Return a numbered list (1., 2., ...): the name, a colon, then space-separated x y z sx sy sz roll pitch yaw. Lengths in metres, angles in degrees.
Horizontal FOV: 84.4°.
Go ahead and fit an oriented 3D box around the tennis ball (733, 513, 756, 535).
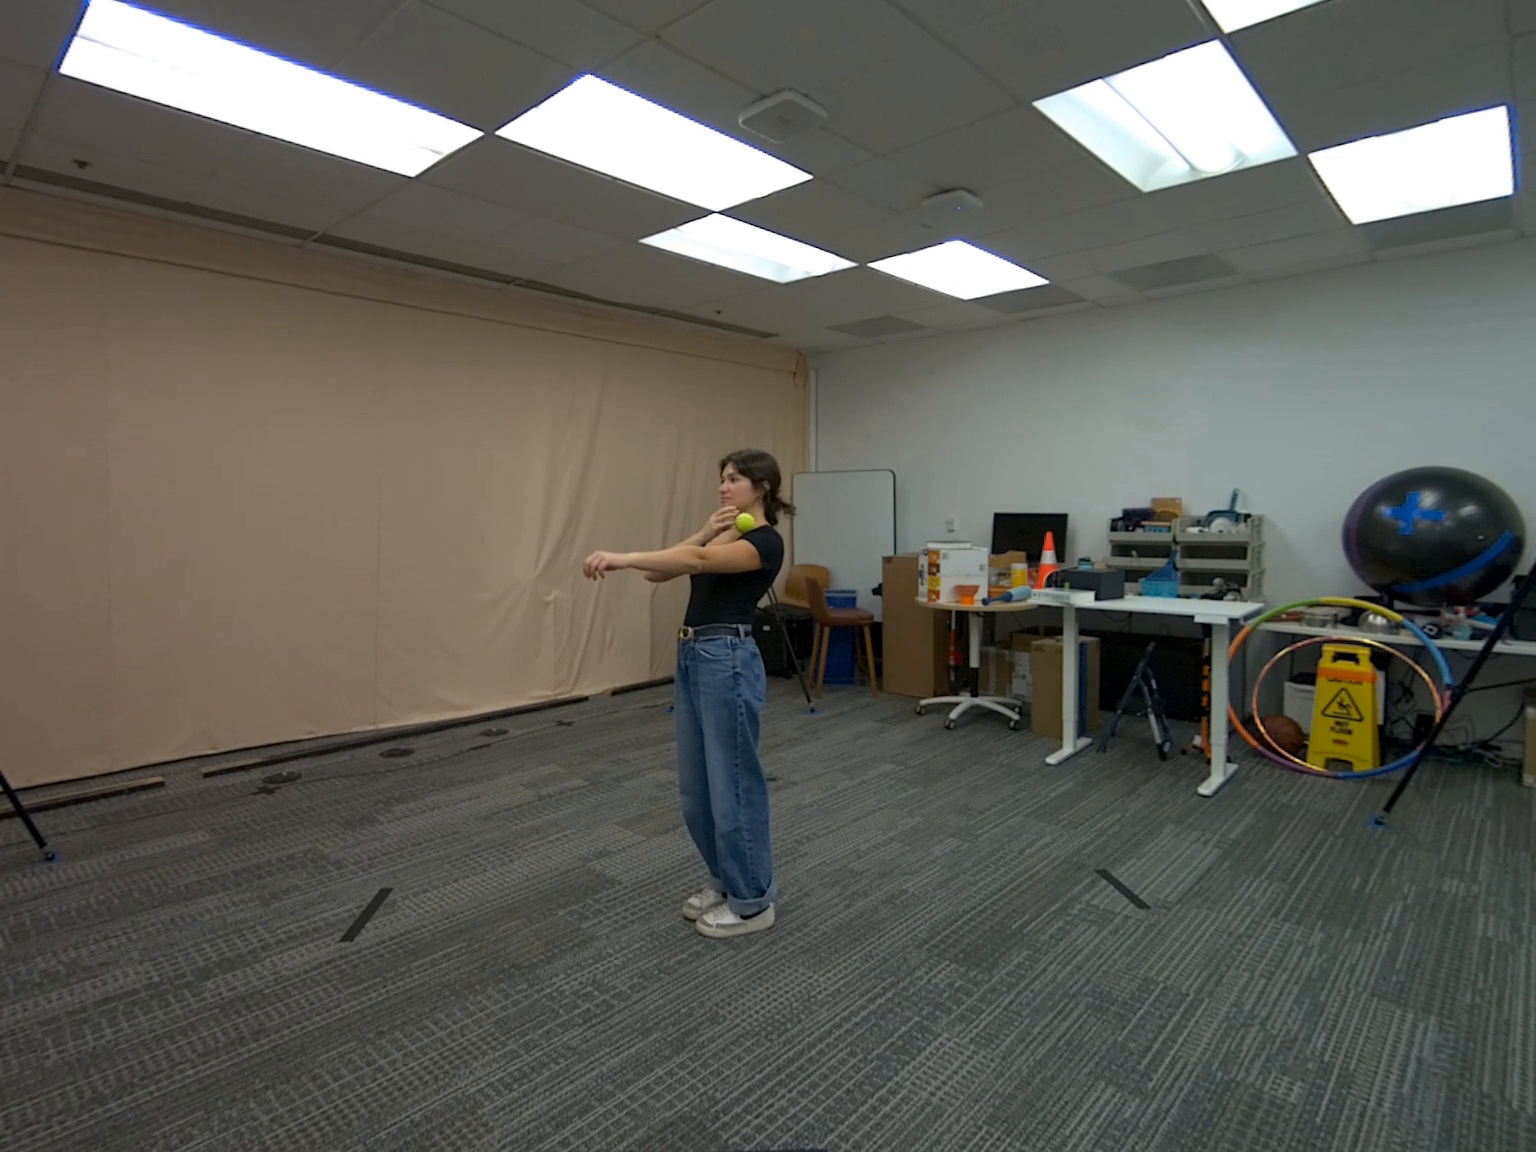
1. tennis ball: -0.069 -0.168 2.686 0.066 0.066 0.067 0 4 -2
